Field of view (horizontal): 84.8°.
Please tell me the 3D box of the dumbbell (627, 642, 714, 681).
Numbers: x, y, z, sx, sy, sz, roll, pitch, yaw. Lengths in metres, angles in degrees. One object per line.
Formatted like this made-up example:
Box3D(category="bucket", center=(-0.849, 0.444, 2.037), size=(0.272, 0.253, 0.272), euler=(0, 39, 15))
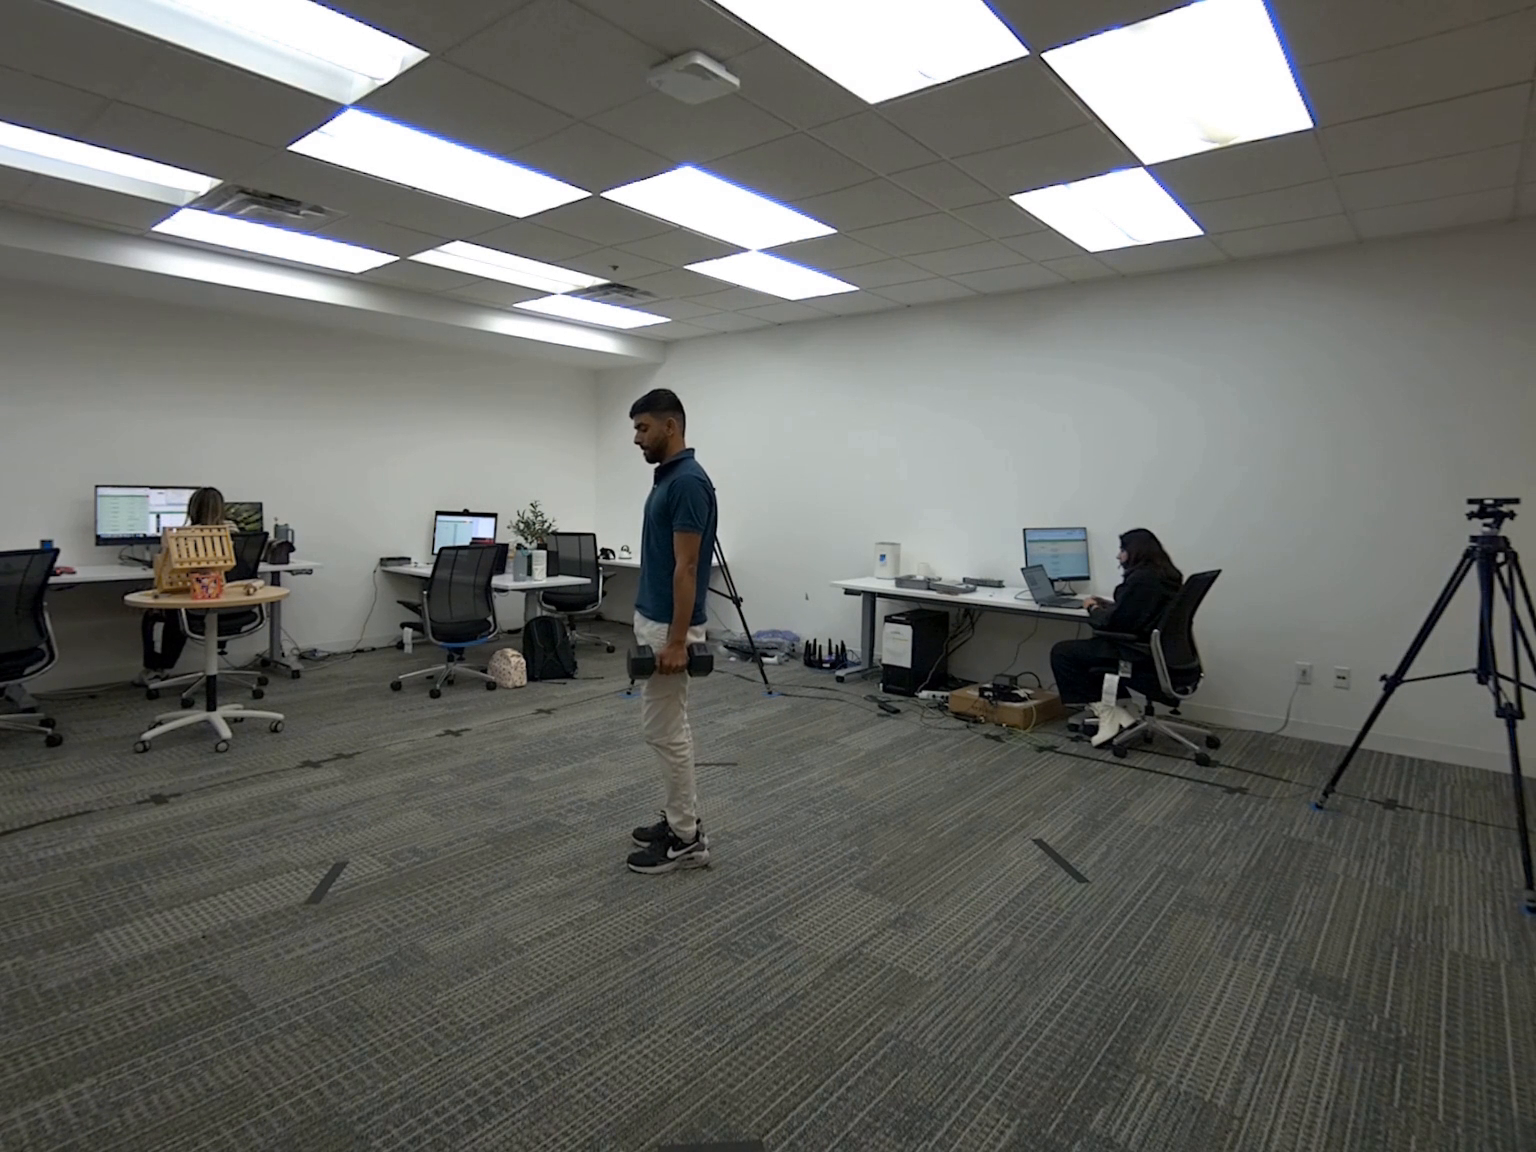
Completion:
Box3D(category="dumbbell", center=(-0.350, 0.292, 2.962), size=(0.288, 0.122, 0.111), euler=(0, 5, -16))
